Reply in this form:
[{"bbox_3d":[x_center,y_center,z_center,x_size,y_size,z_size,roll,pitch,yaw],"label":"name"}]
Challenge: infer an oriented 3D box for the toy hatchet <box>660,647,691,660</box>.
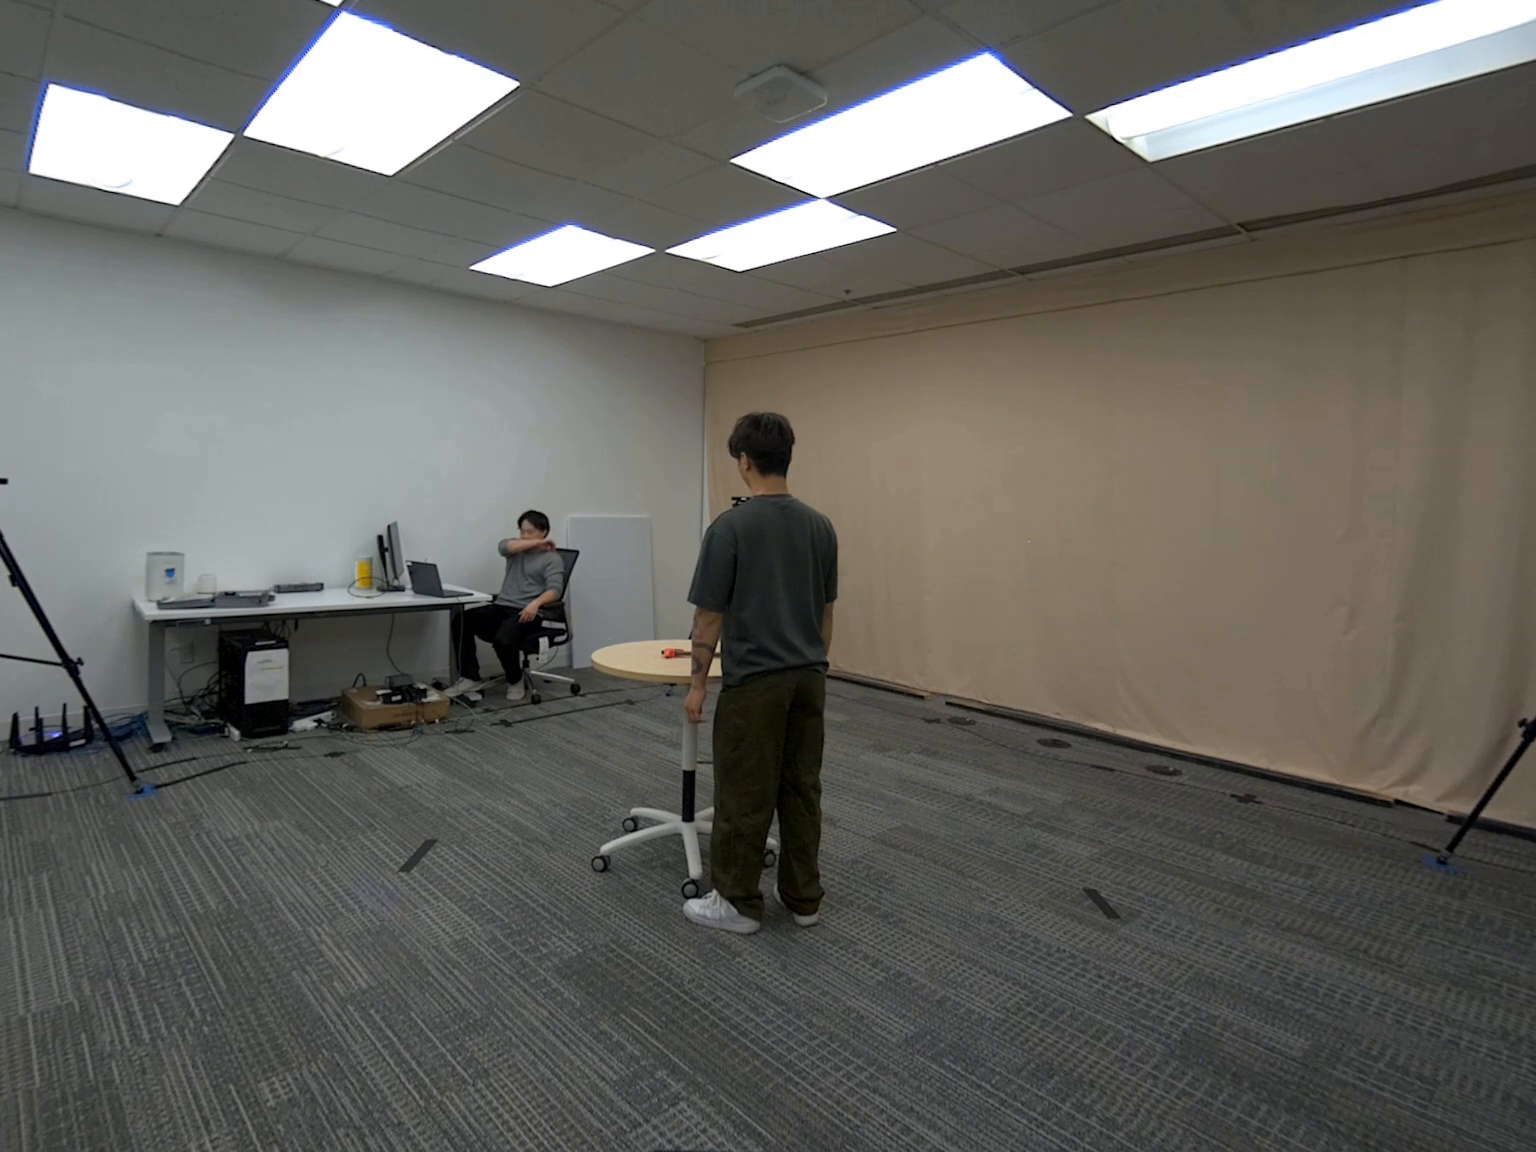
[{"bbox_3d":[-0.295,0.297,3.234,0.266,0.029,0.133,2,1,-18],"label":"toy hatchet"}]
